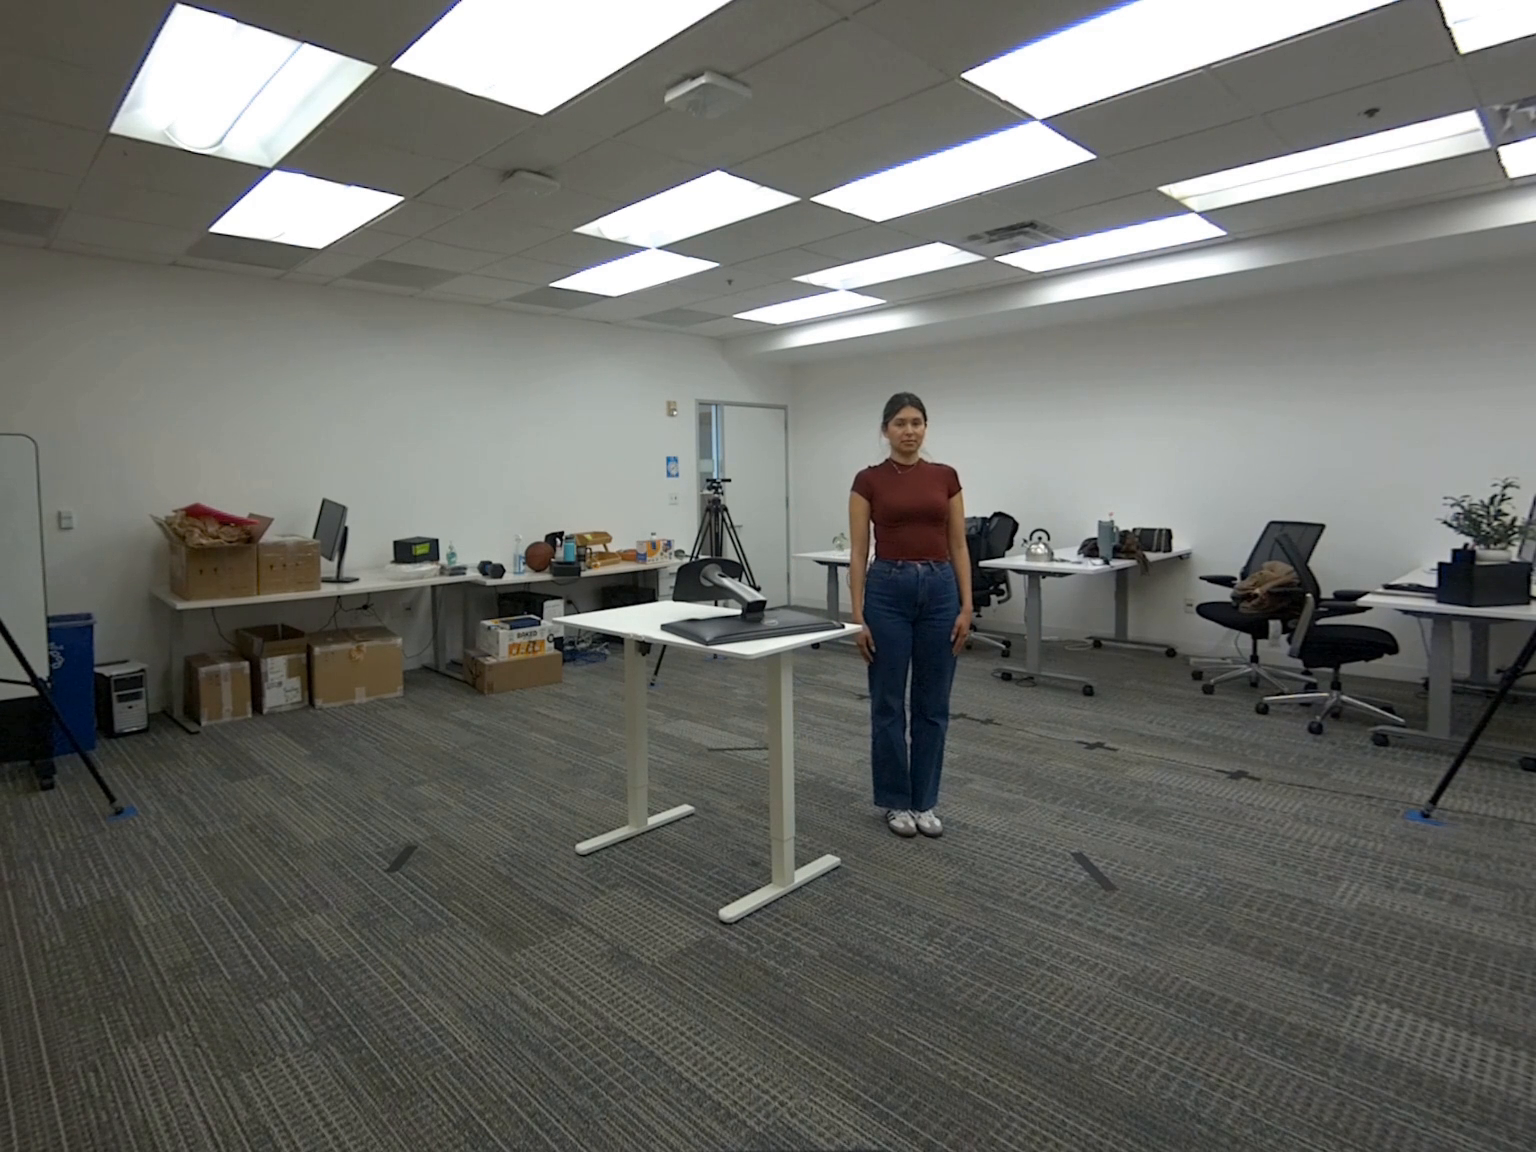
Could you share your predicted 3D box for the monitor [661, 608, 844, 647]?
[{"bbox_3d":[-0.092,0.110,3.003,0.527,0.184,0.542,-5,24,-29],"label":"monitor"}]
